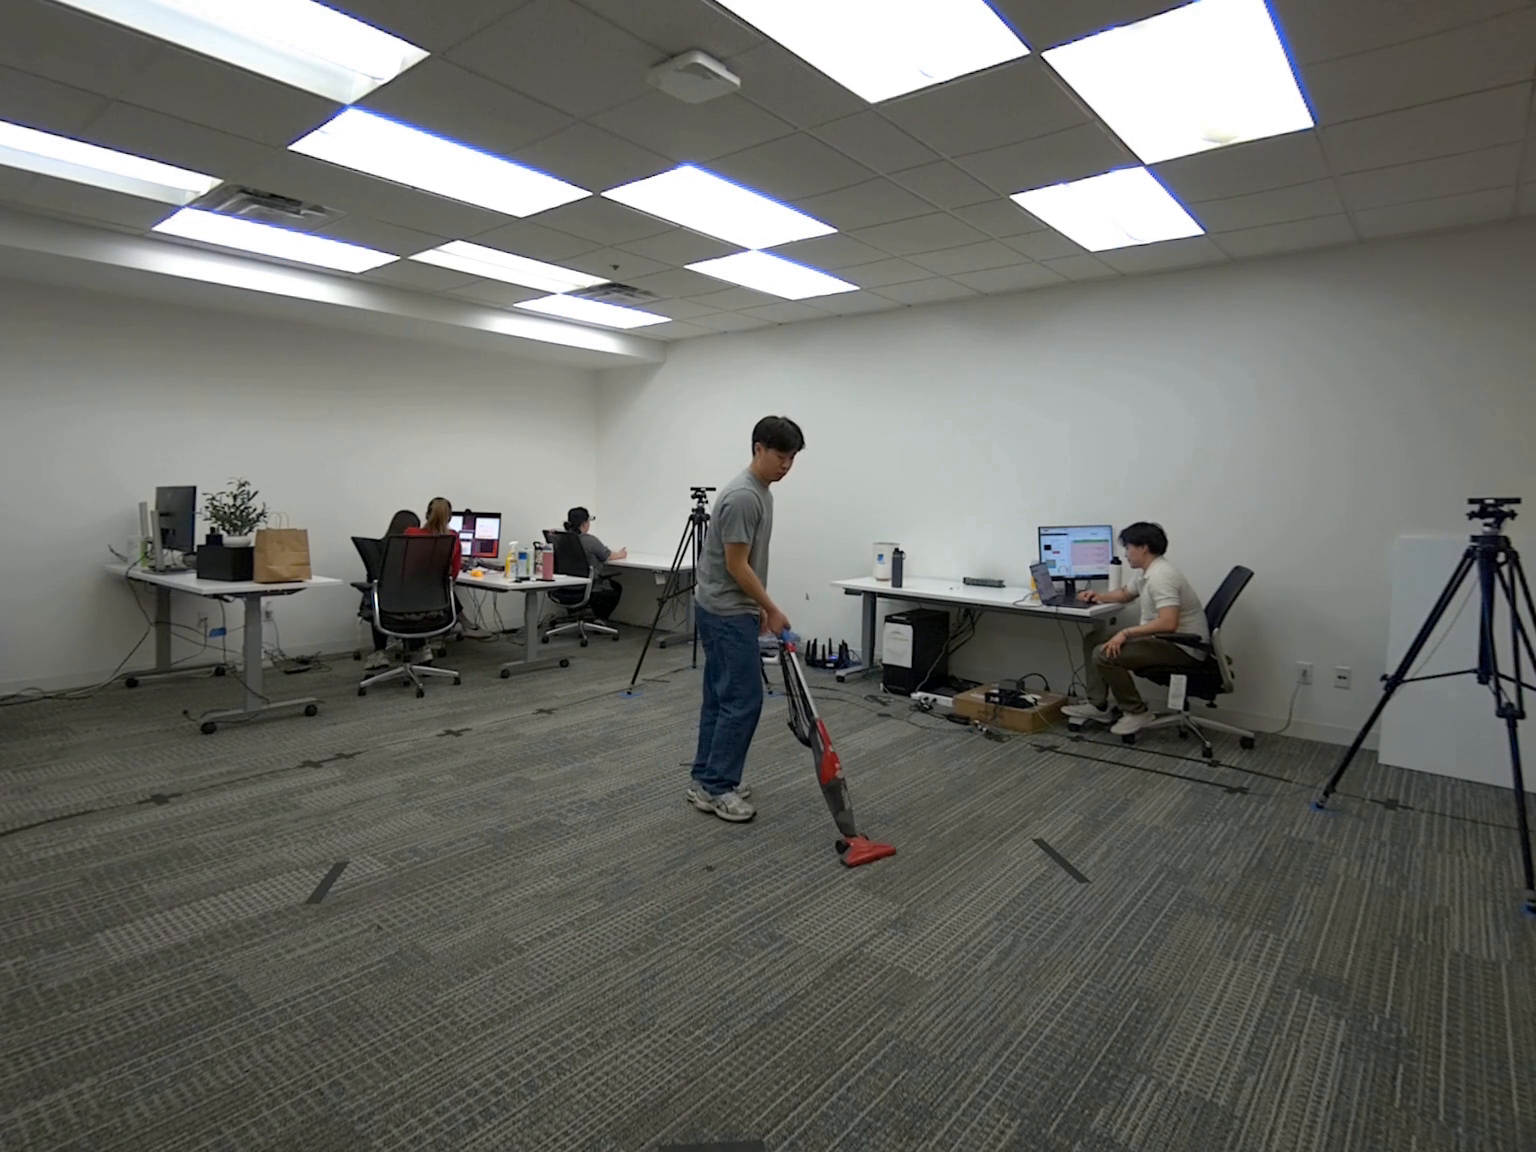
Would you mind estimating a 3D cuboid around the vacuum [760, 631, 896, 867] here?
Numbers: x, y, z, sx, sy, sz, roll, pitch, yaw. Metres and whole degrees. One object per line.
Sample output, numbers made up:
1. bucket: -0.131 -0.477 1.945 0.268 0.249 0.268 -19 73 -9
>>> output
1. vacuum: 0.185 0.612 3.477 0.244 1.081 0.144 7 -37 -43
